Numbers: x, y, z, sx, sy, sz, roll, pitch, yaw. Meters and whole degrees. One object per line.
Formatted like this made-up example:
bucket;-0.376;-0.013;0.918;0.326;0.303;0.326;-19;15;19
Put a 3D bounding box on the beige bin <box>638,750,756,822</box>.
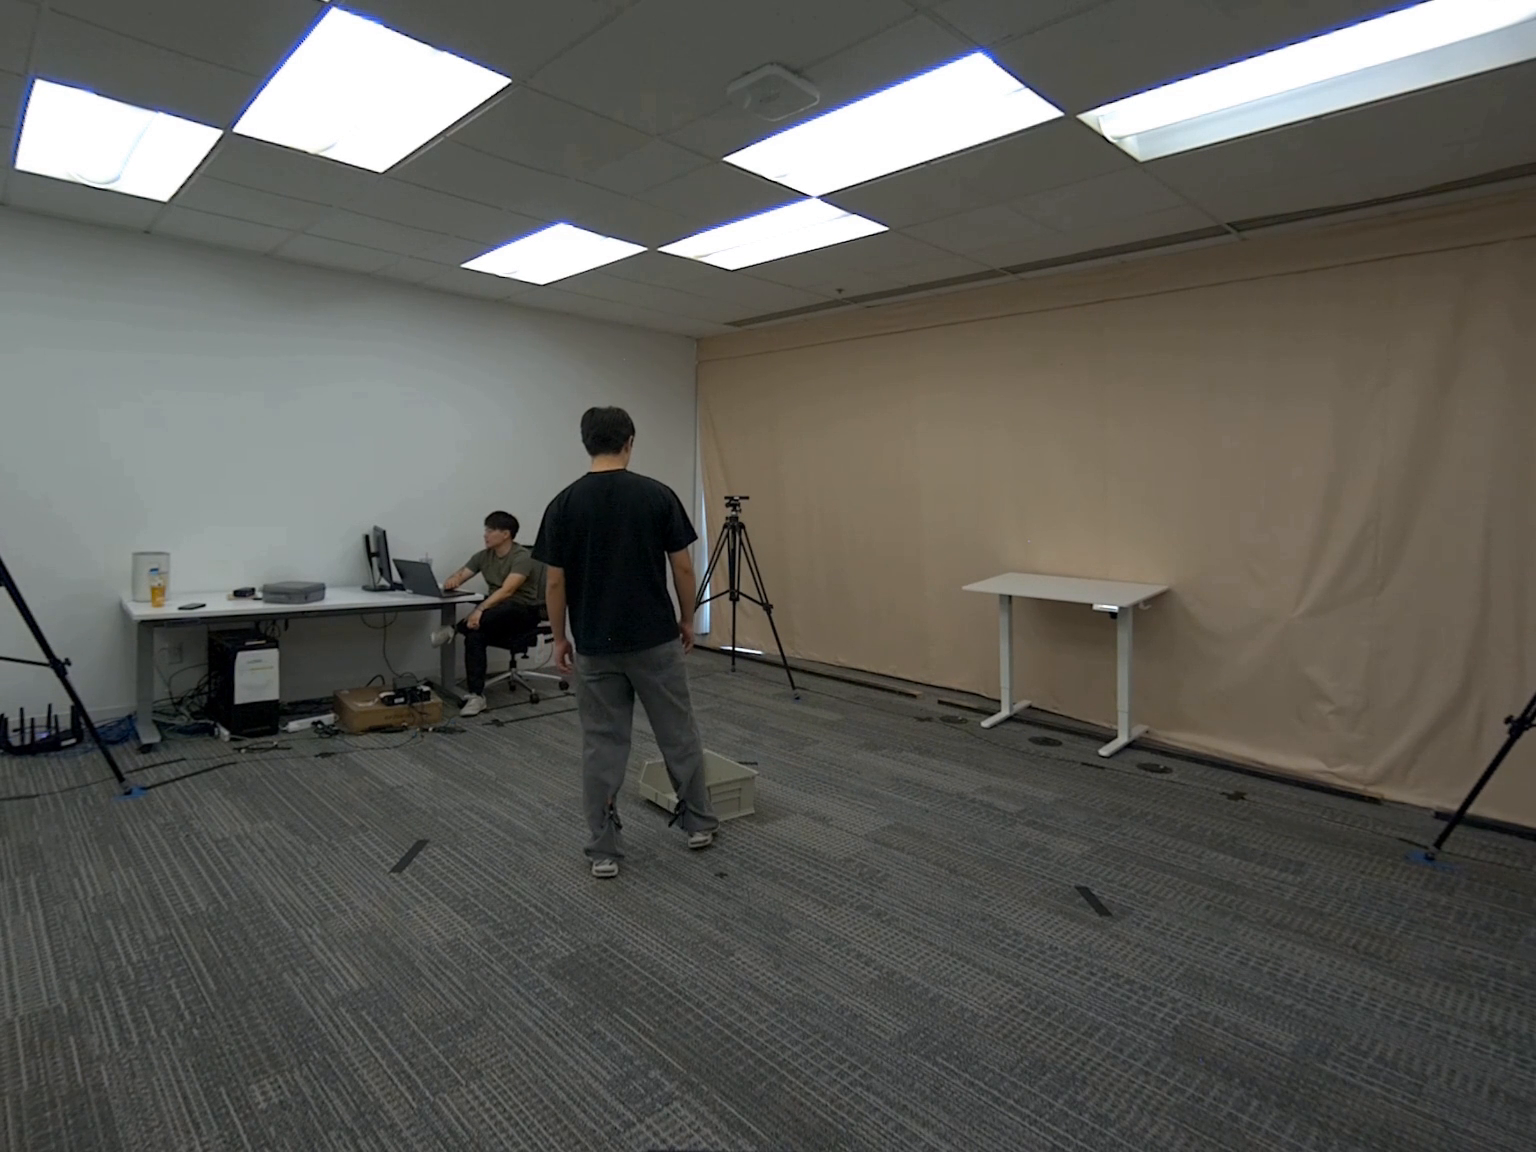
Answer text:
beige bin;-0.328;0.951;3.794;0.369;0.188;0.433;-1;5;-38
